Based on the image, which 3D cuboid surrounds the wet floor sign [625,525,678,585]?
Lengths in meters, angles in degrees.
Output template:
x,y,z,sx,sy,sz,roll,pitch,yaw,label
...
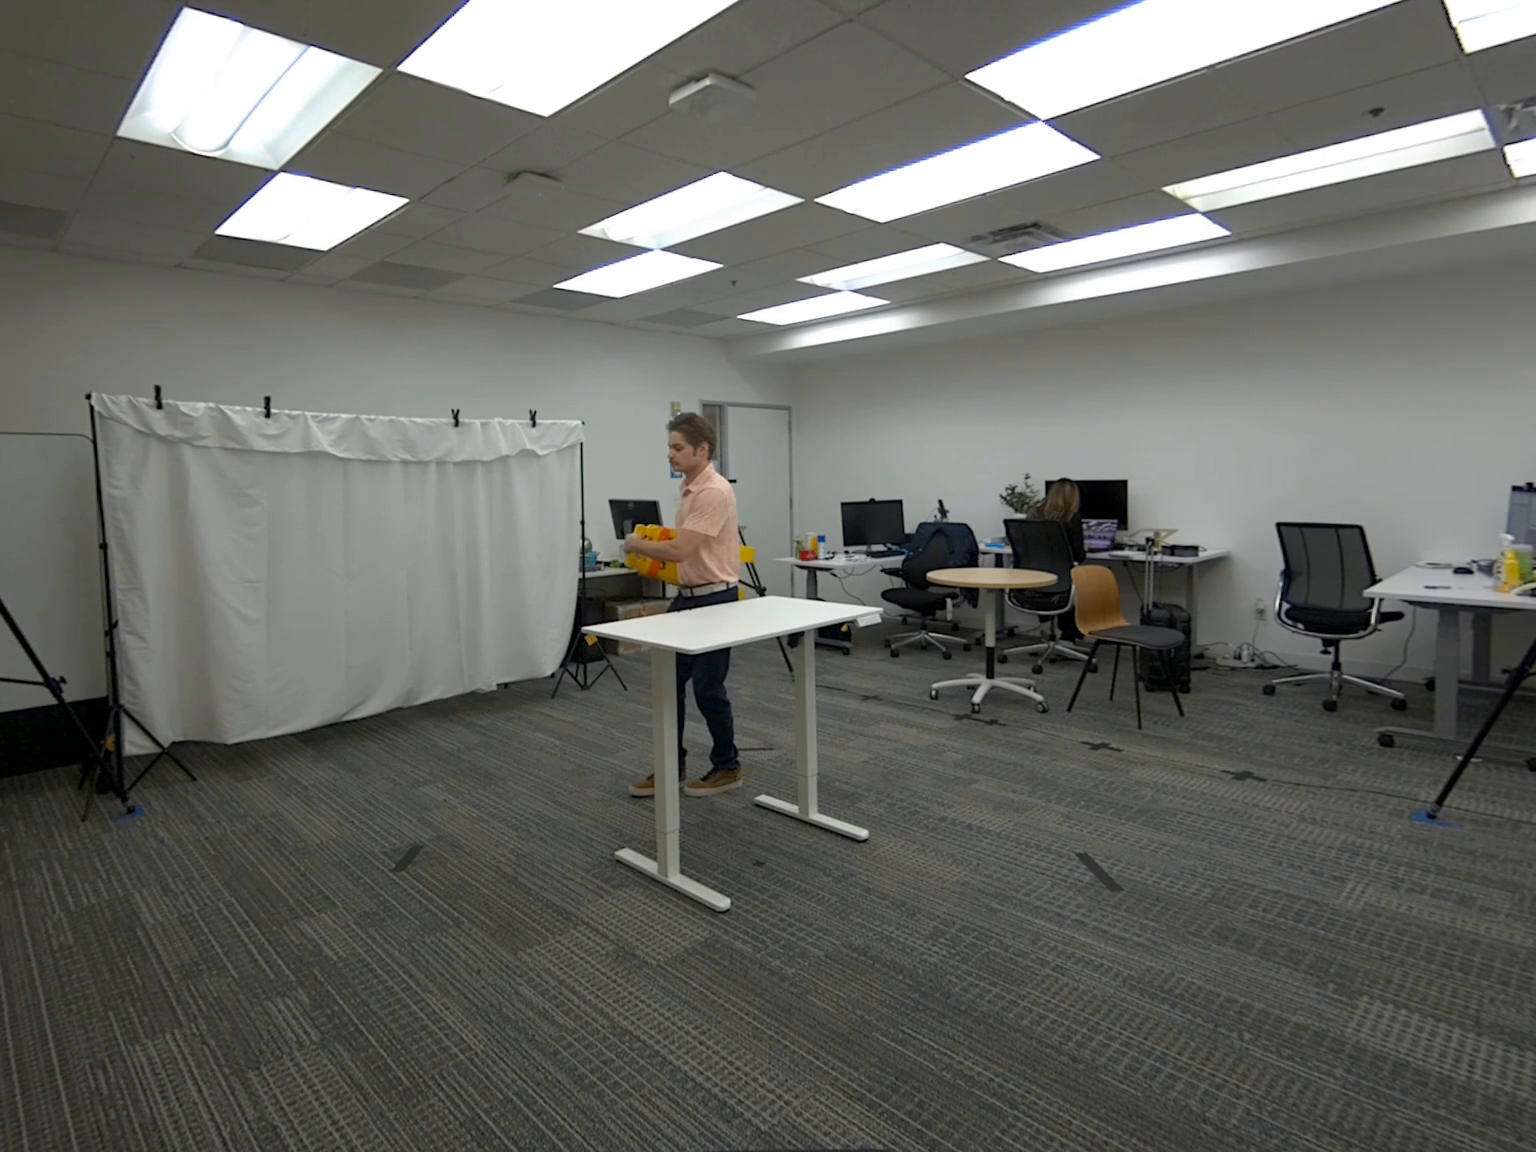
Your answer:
x,y,z,sx,sy,sz,roll,pitch,yaw,label
-0.399,-0.079,4.037,0.624,0.282,0.300,14,3,-42,wet floor sign
